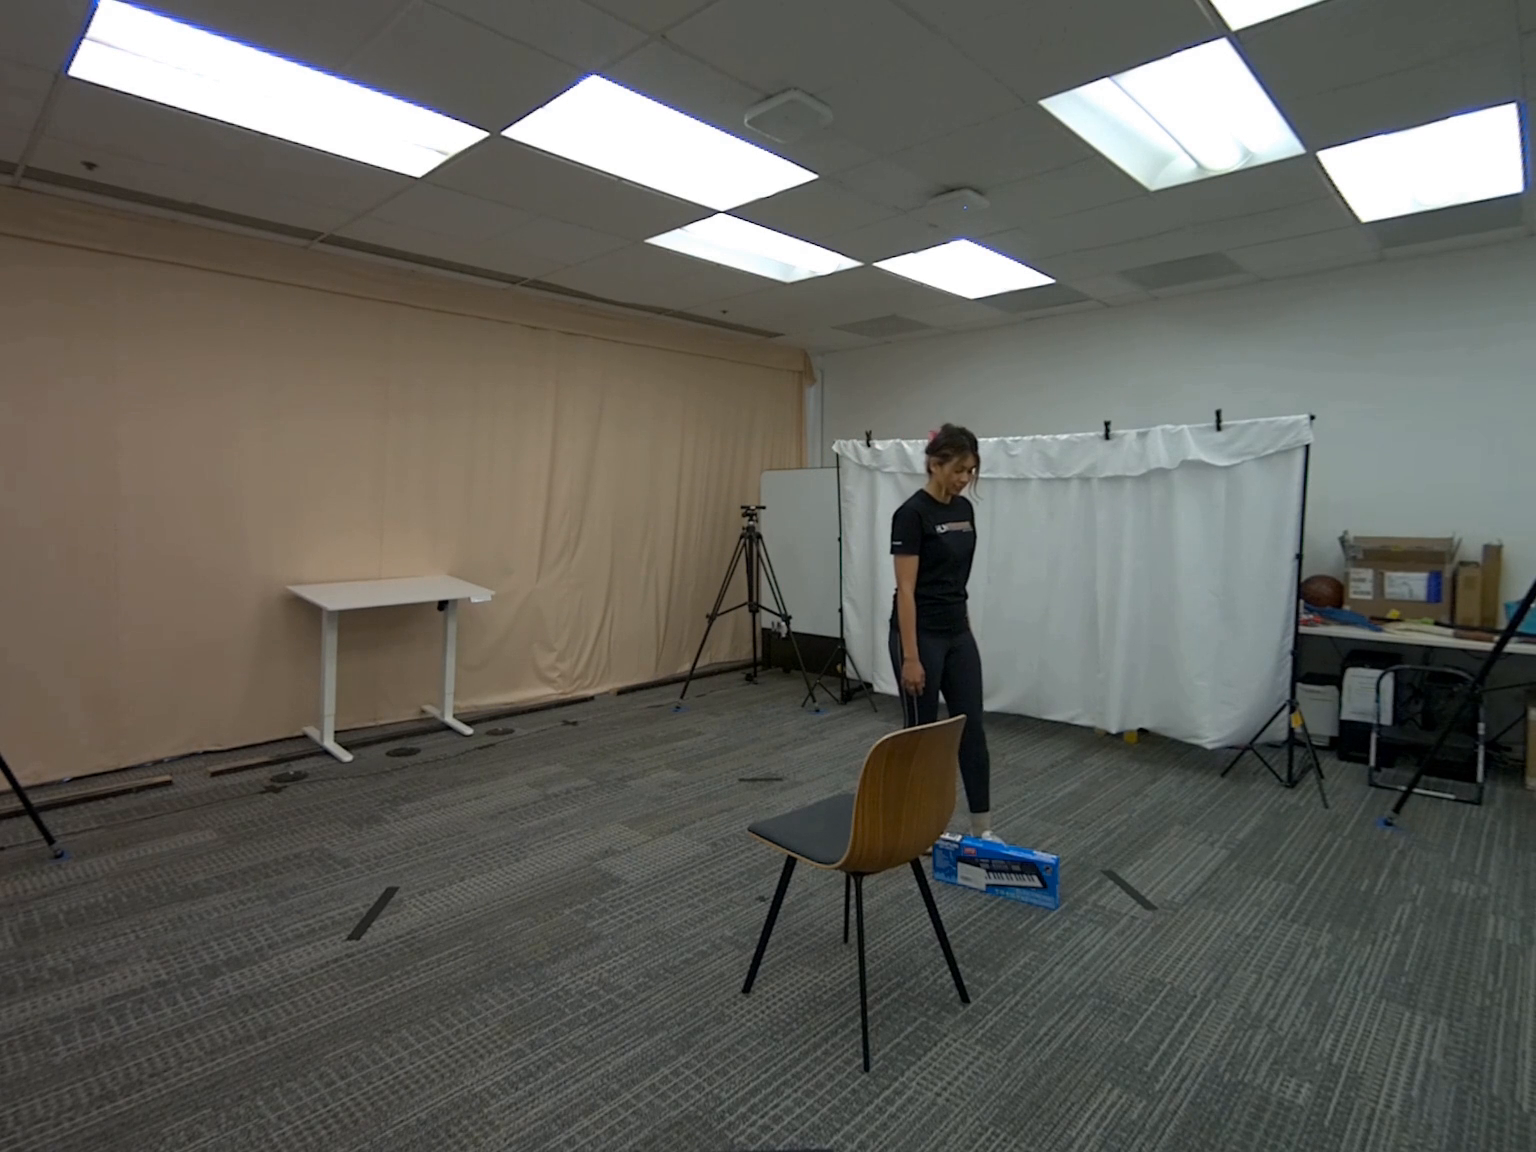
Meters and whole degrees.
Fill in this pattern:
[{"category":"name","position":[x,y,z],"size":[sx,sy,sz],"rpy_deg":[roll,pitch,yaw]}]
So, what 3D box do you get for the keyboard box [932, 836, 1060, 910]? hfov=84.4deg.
[{"category":"keyboard box","position":[0.819,1.054,3.024],"size":[0.450,0.175,0.057],"rpy_deg":[2,9,33]}]
